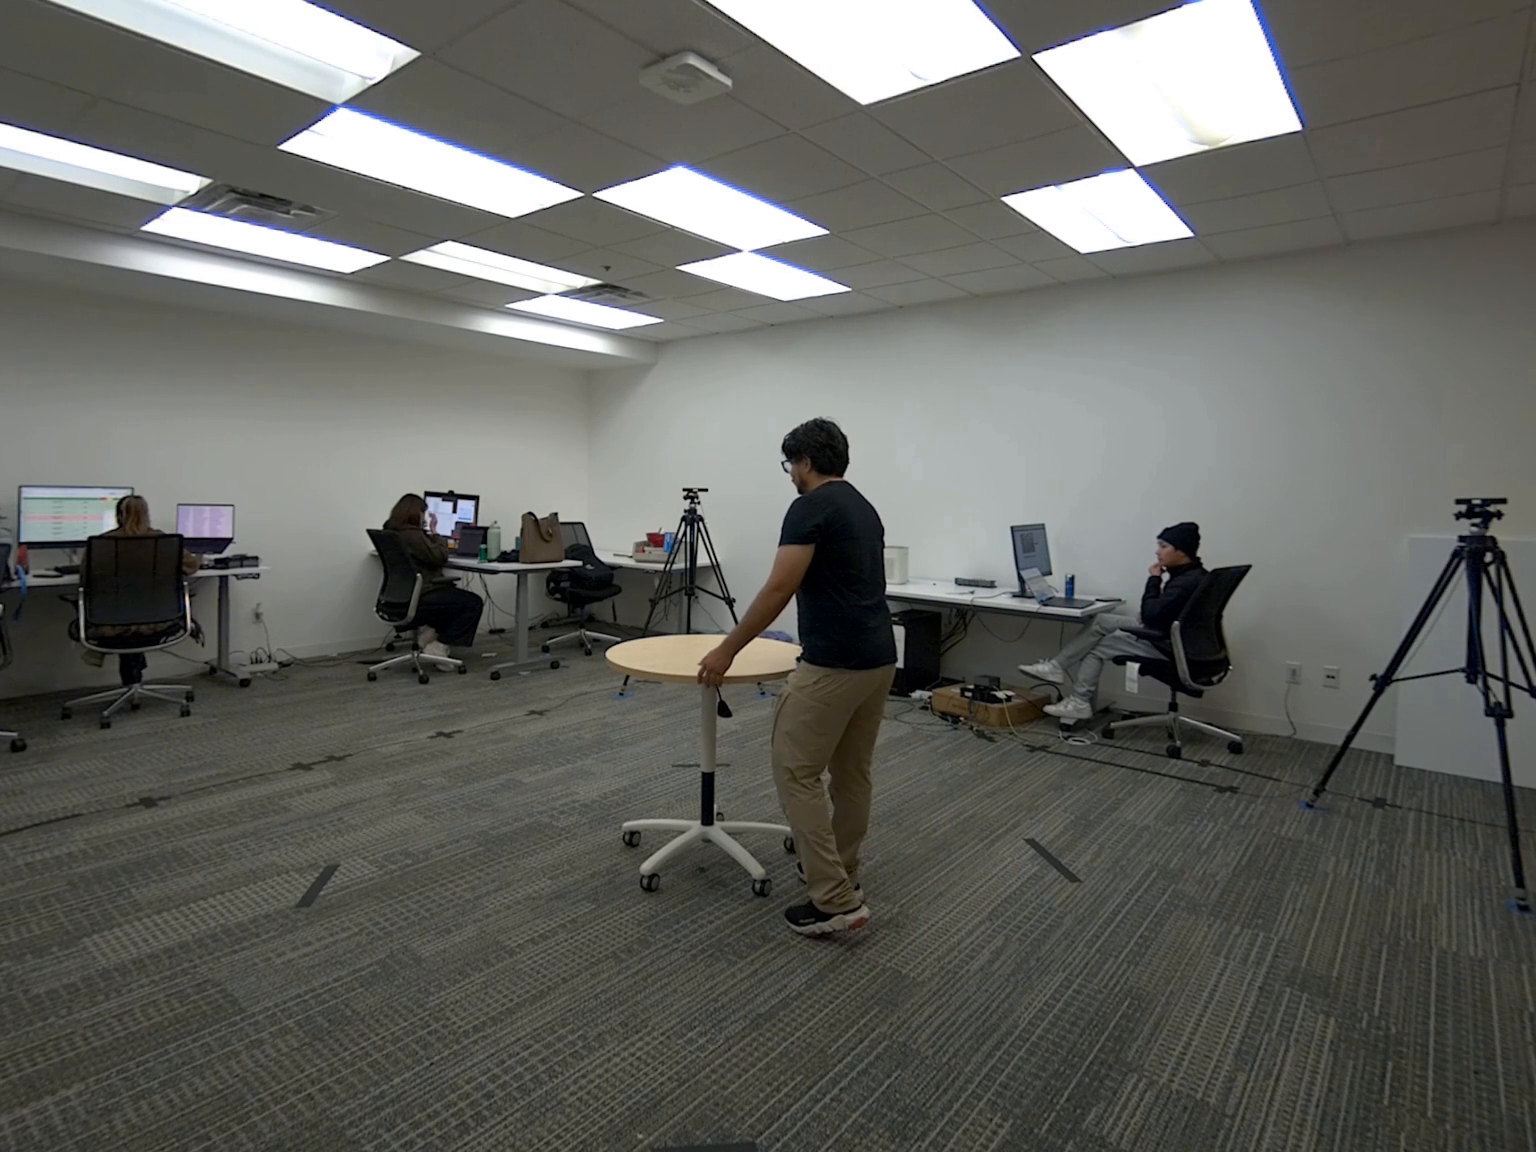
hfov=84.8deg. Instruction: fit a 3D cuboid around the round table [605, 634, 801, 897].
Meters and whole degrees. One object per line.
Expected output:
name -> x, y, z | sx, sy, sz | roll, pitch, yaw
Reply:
round table -> -0.243, 0.668, 3.158 | 0.784, 0.784, 0.788 | 1, 4, -2
